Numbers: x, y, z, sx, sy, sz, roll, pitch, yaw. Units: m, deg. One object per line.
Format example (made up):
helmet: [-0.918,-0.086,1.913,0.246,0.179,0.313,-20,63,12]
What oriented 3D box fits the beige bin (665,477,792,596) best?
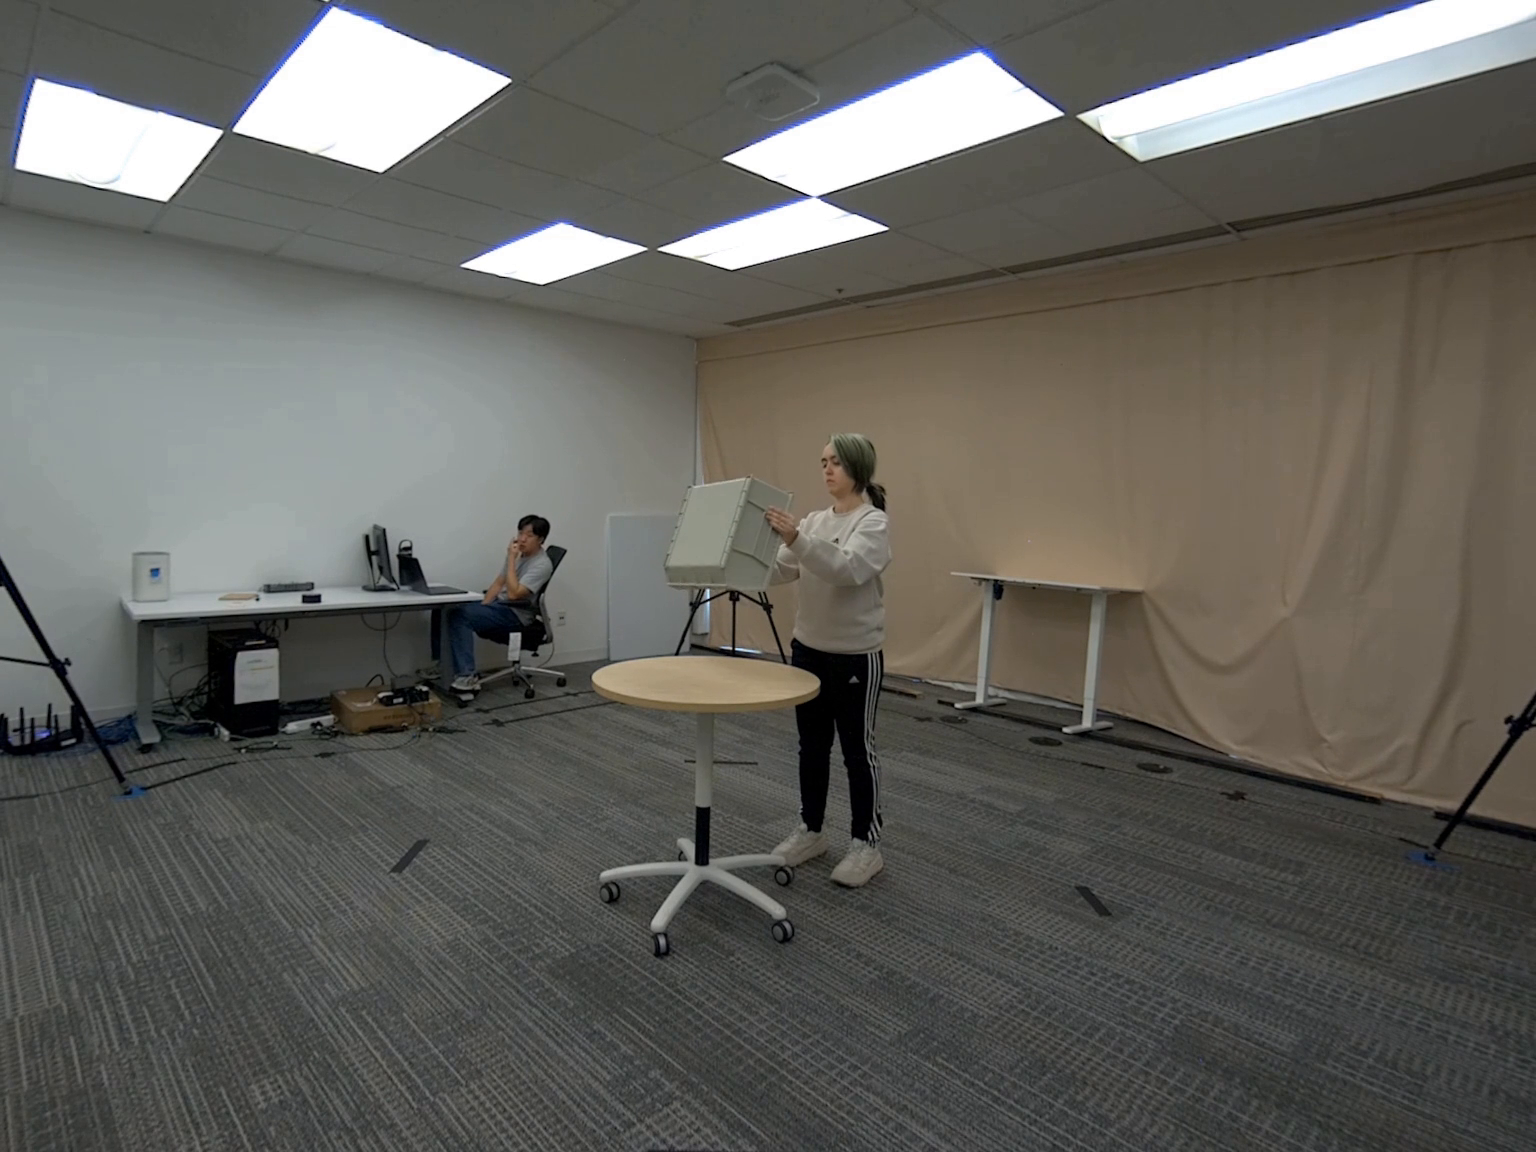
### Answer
beige bin: [-0.155,-0.127,2.863,0.184,0.379,0.431,22,-13,-32]
